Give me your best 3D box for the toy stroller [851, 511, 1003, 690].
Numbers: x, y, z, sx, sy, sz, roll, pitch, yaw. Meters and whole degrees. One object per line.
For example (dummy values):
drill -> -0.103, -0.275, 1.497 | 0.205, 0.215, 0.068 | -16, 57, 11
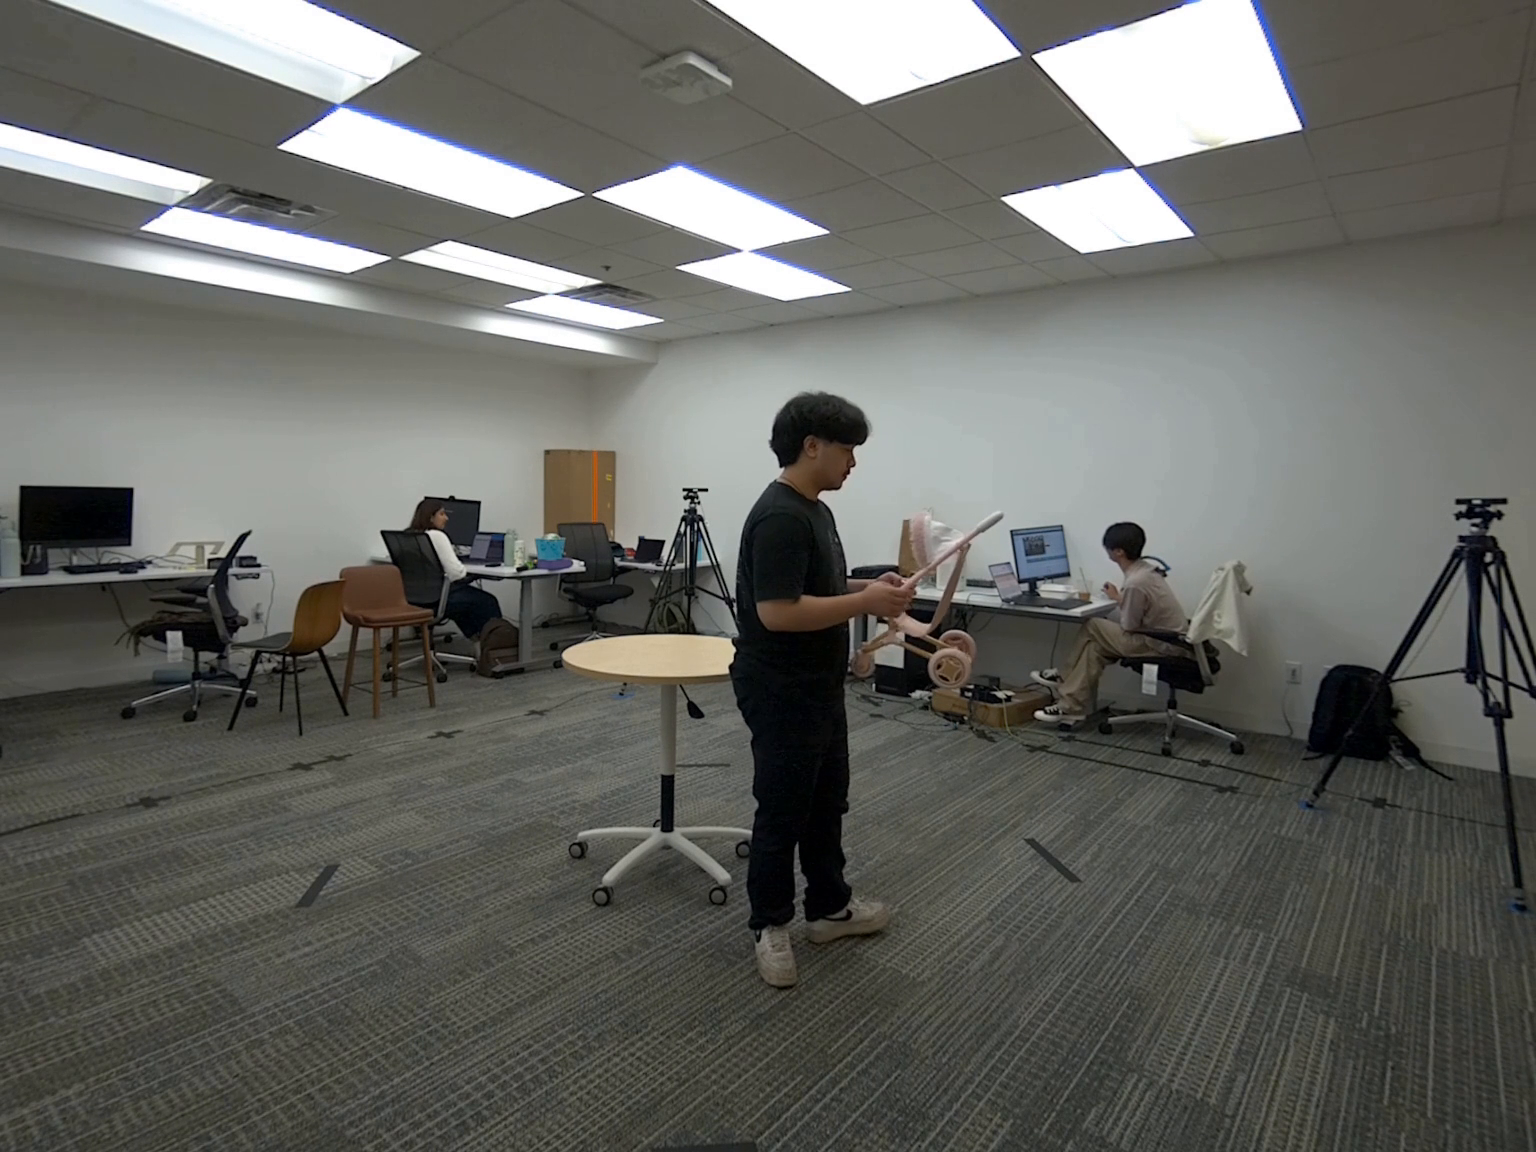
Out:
toy stroller -> 0.427, 0.060, 2.369 | 0.350, 0.531, 0.276 | 11, 8, 22
